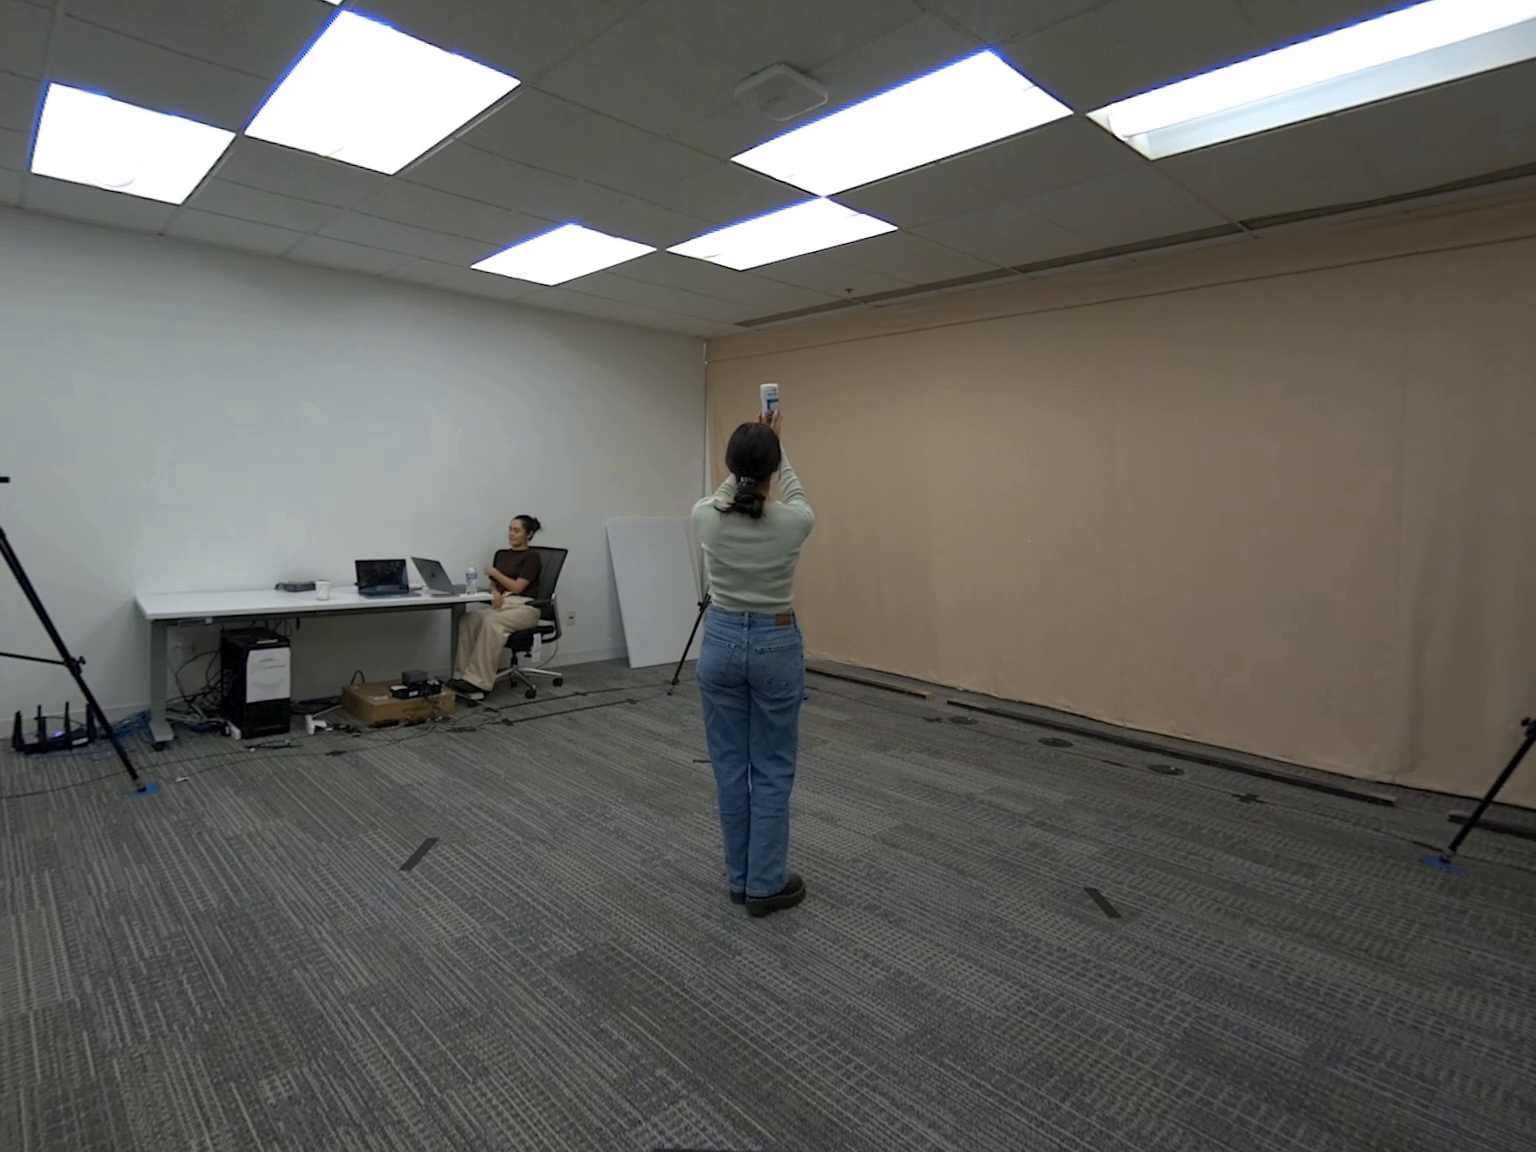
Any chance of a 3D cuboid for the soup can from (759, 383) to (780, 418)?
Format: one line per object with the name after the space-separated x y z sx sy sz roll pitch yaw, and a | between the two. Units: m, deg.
0.006 -0.651 3.132 0.067 0.120 0.068 -4 12 0 | soup can
